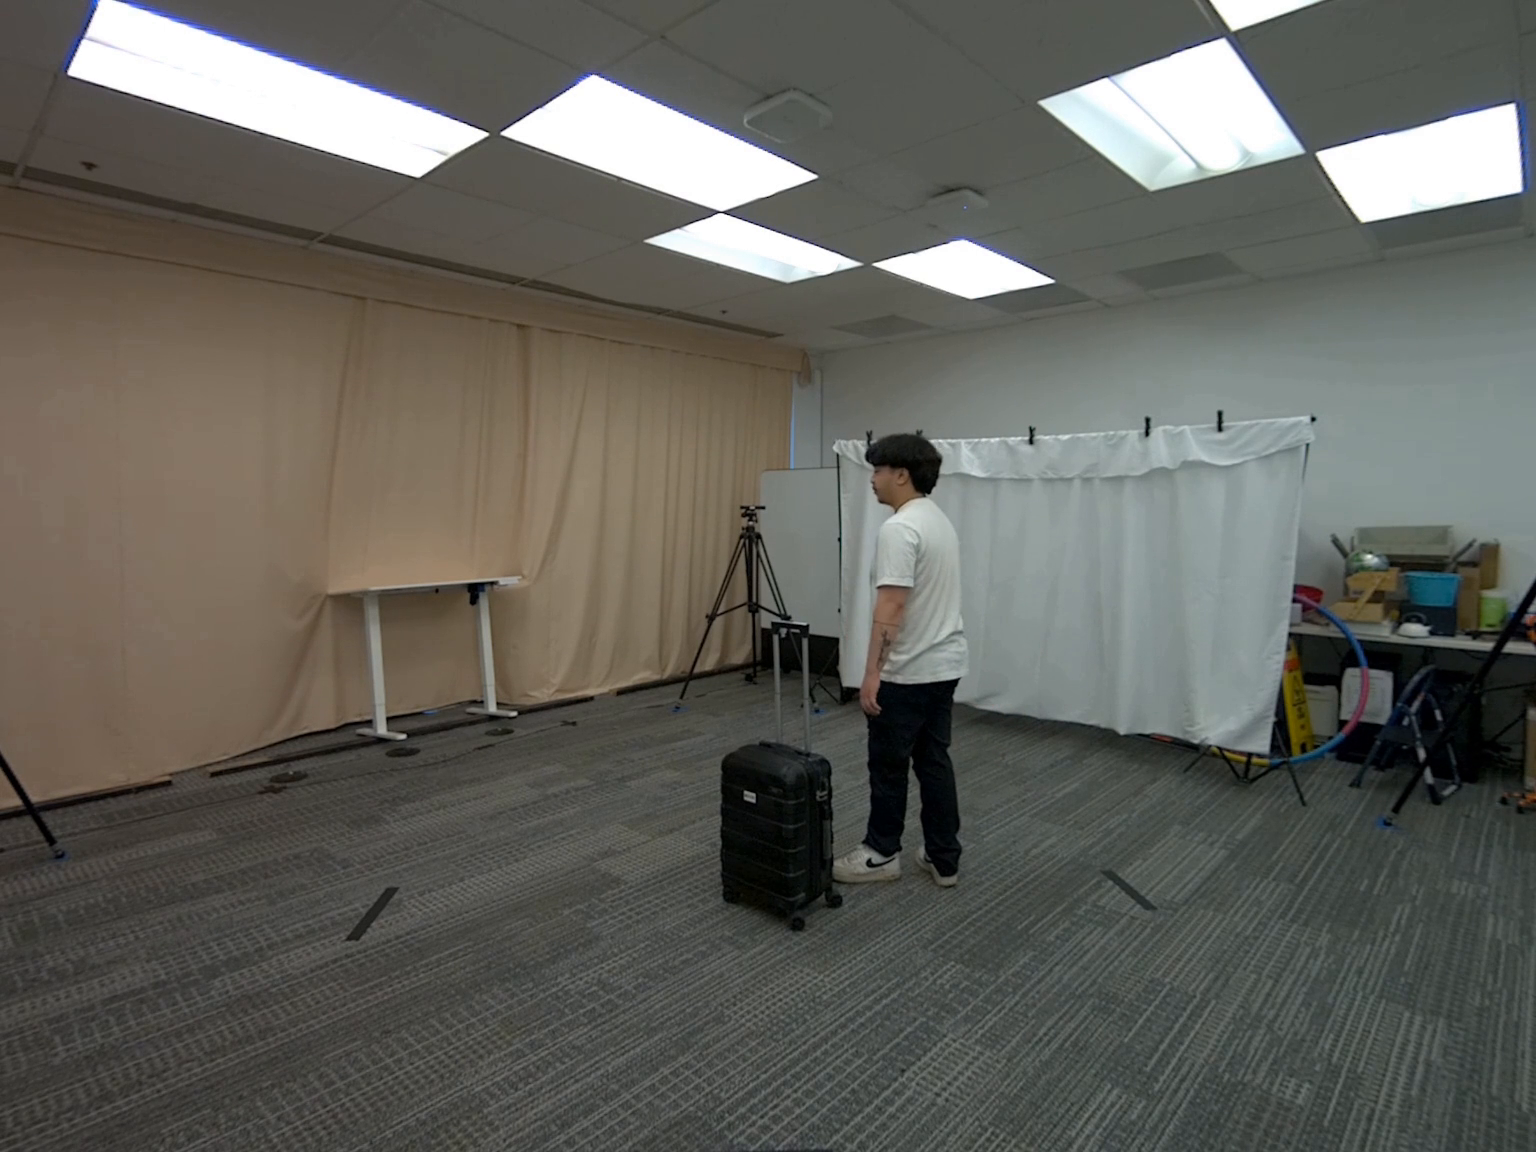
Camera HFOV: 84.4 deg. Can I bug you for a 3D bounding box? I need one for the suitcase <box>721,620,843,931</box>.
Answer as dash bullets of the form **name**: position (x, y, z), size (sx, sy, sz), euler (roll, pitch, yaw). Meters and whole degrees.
- **suitcase**: position (0.025, 0.674, 2.914), size (0.397, 0.975, 0.249), euler (3, 8, 43)
